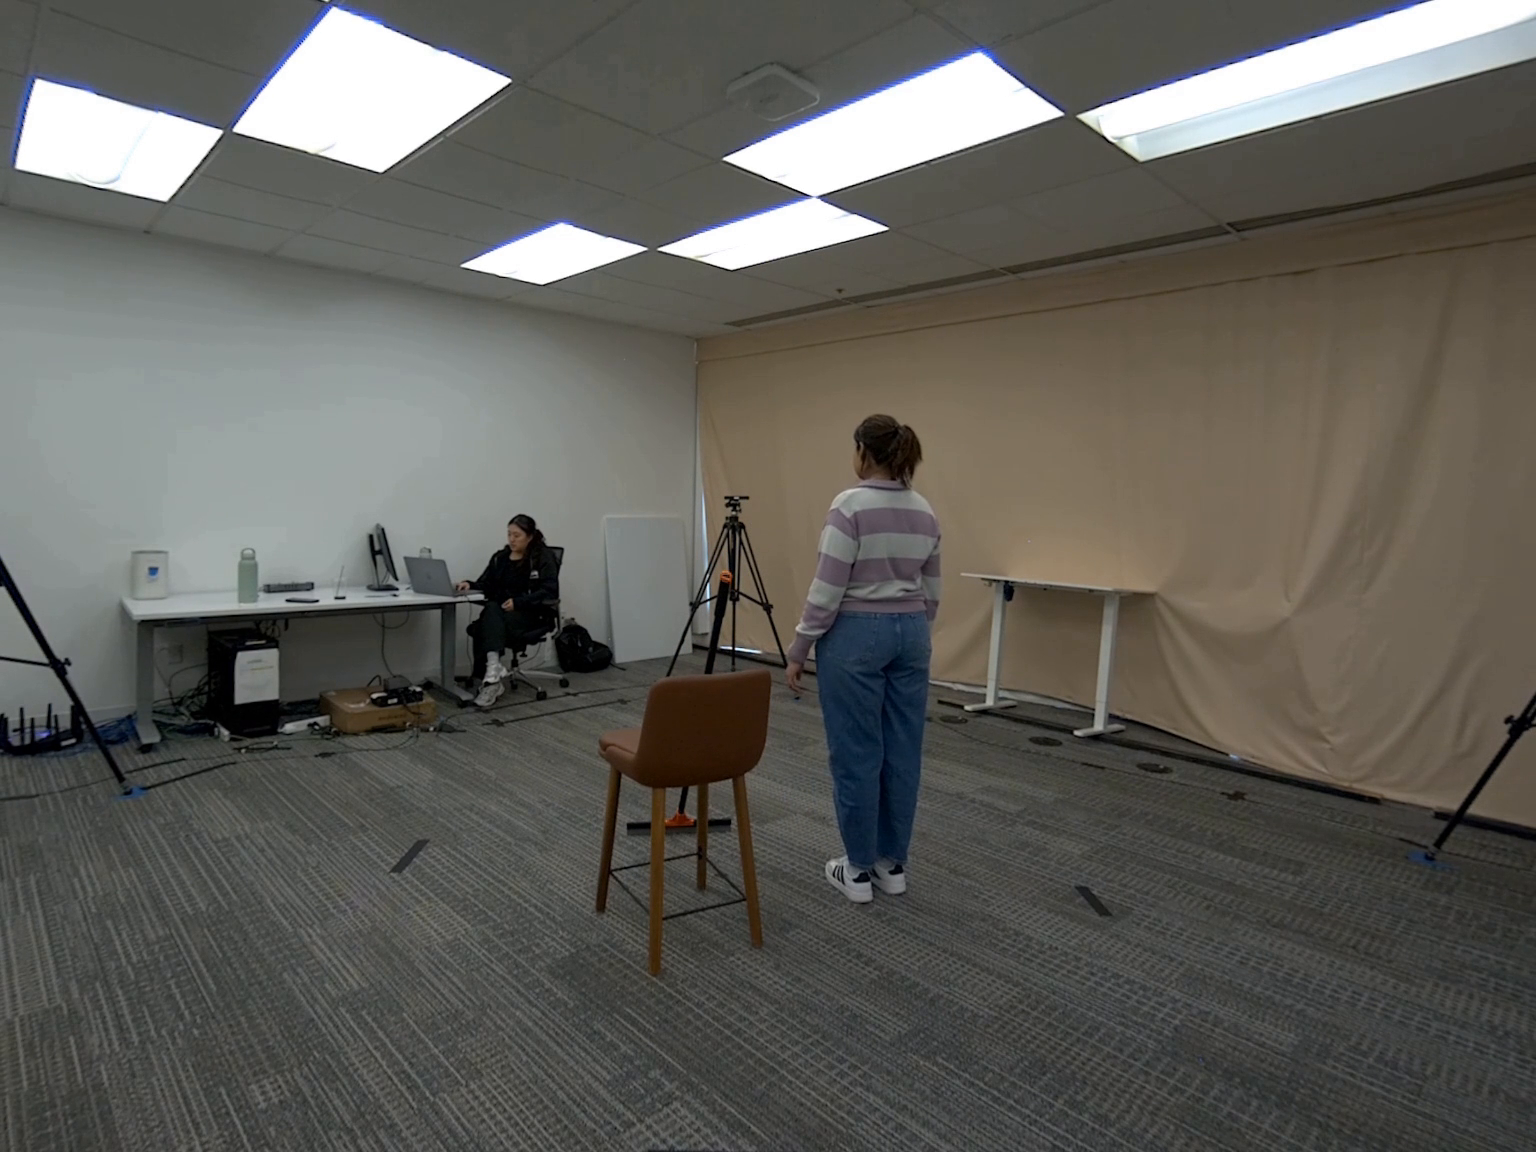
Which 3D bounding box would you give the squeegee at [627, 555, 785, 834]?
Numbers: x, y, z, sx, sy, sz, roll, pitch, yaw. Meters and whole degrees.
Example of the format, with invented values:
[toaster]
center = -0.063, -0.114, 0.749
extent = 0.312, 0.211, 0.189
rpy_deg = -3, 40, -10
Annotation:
[squeegee]
center = -0.251, 0.510, 2.974
extent = 0.434, 1.511, 0.054
rpy_deg = 1, 46, -11
